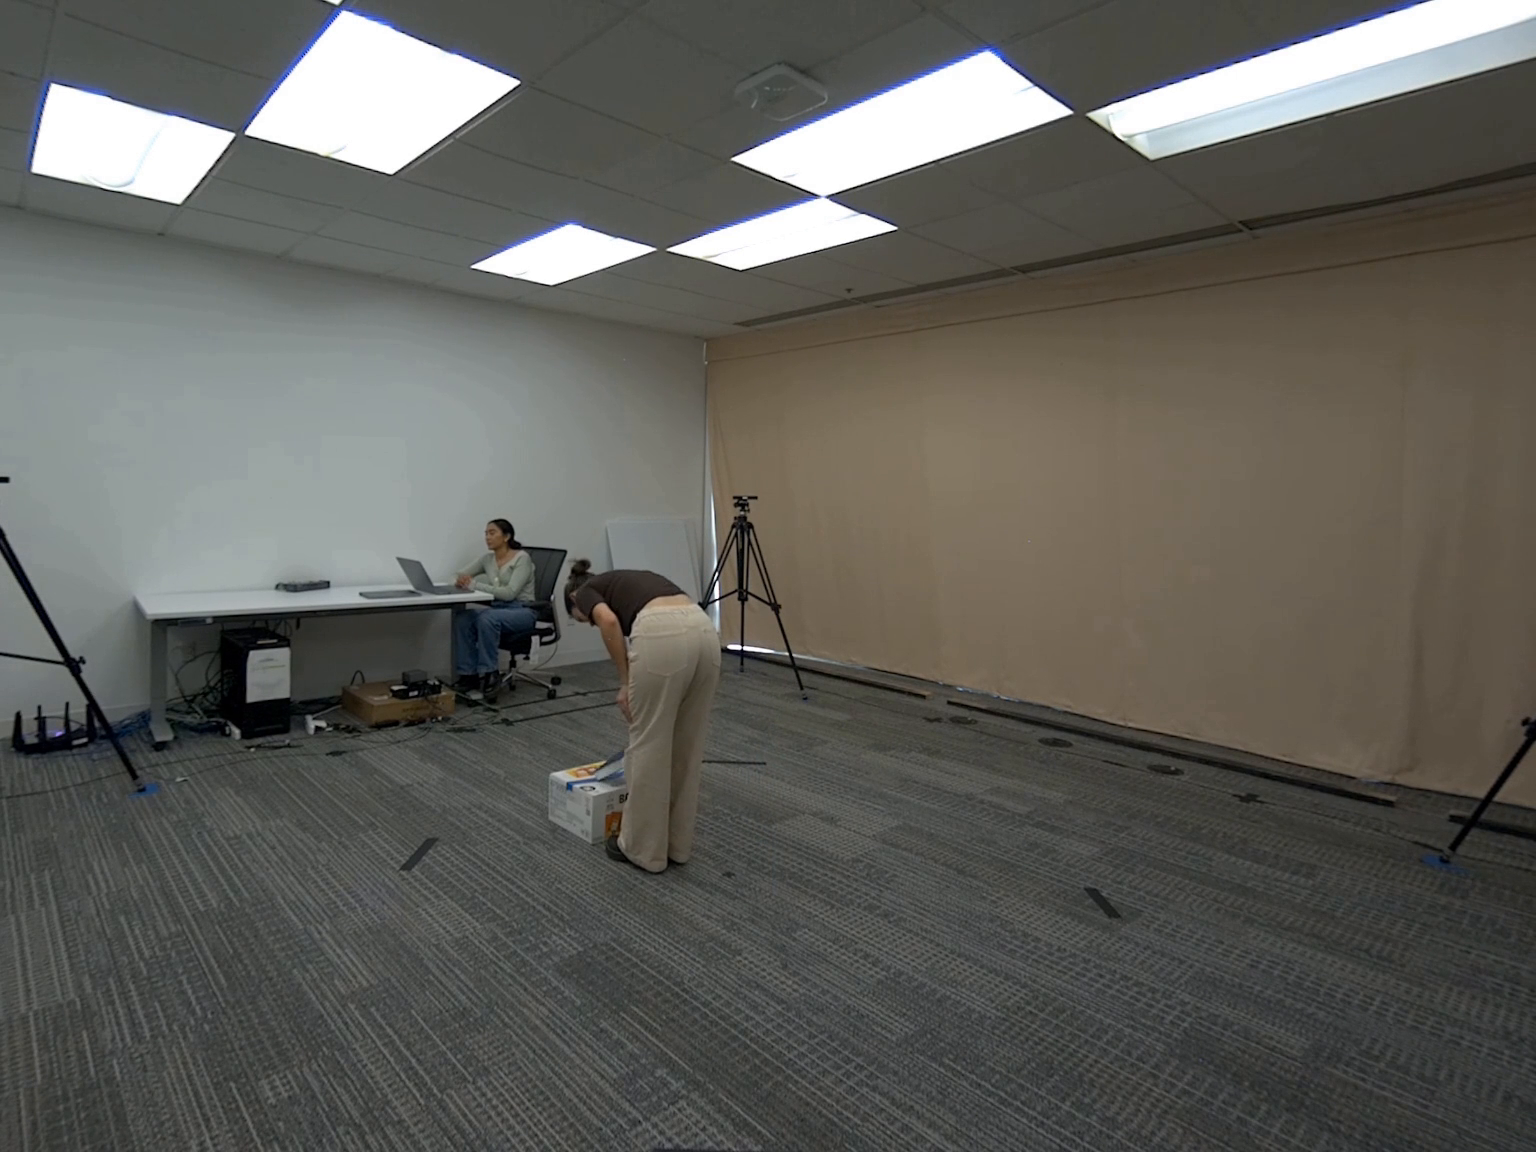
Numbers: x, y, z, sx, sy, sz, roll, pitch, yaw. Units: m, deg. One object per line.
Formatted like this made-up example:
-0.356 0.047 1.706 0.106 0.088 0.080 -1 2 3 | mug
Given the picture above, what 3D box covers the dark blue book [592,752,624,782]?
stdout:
-0.615 0.765 3.498 0.162 0.045 0.246 -32 -2 -46 | dark blue book
